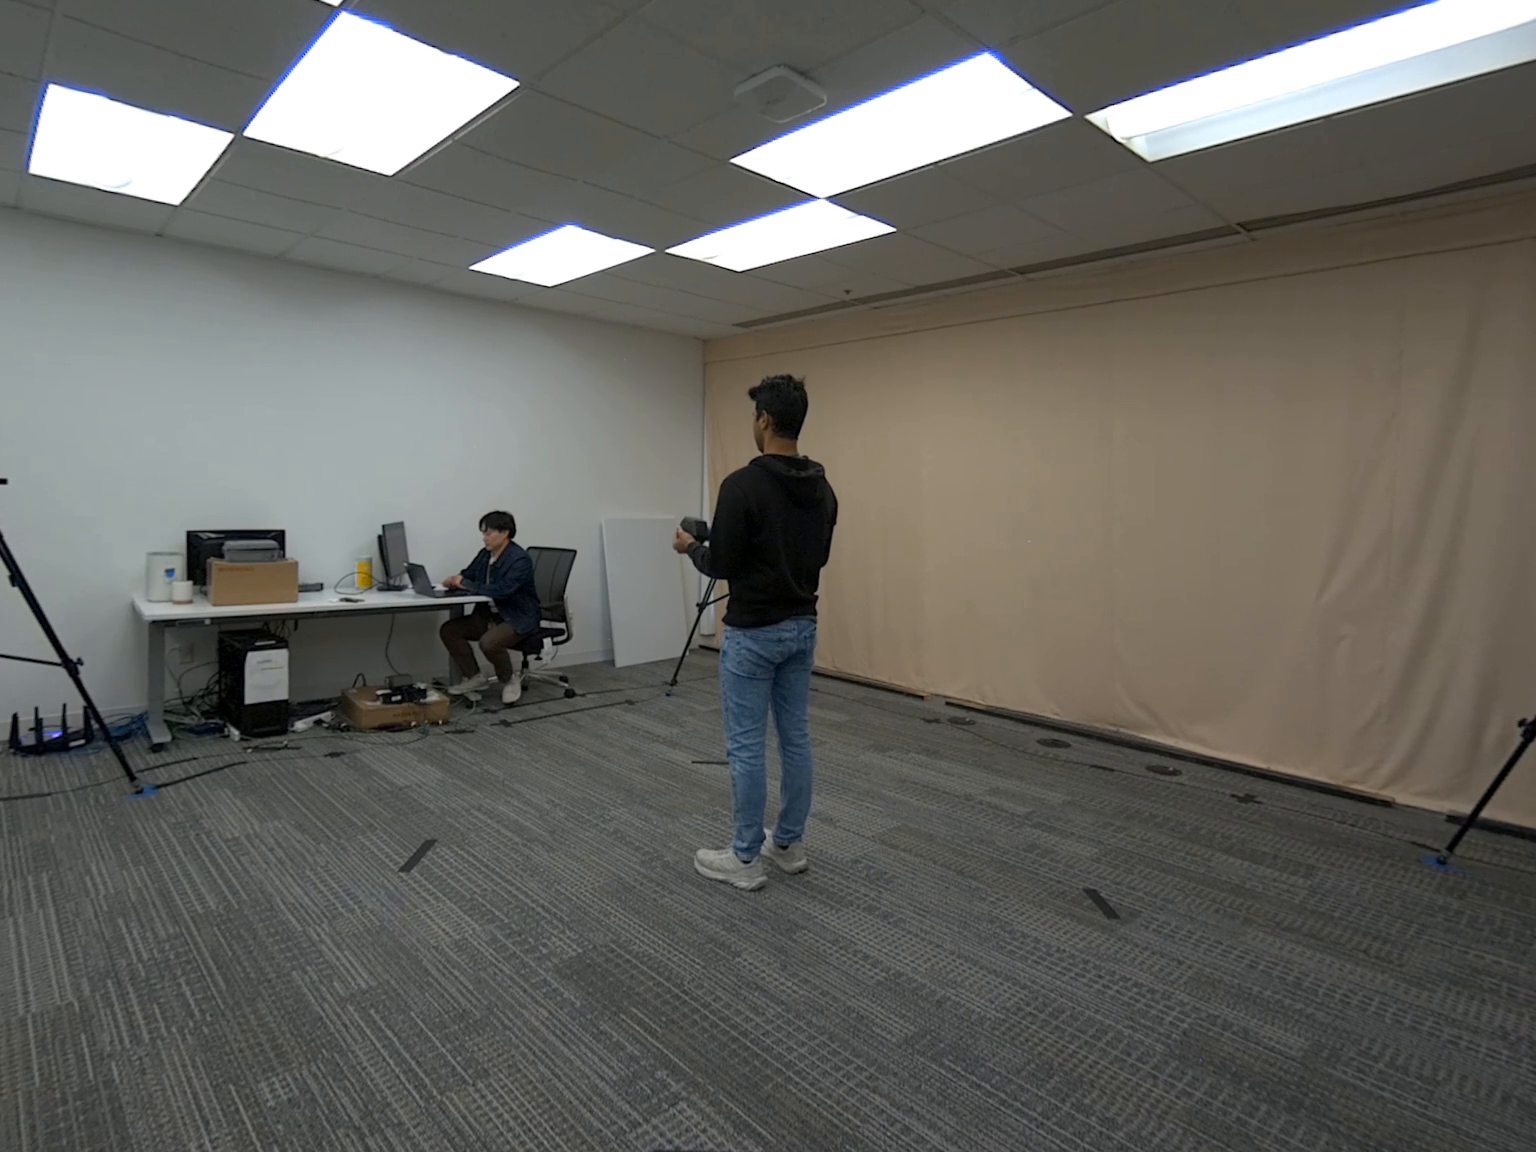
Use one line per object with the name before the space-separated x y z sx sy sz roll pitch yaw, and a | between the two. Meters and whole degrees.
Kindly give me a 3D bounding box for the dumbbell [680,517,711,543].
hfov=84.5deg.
dumbbell | -0.205 -0.149 3.302 0.286 0.122 0.112 4 43 -43
